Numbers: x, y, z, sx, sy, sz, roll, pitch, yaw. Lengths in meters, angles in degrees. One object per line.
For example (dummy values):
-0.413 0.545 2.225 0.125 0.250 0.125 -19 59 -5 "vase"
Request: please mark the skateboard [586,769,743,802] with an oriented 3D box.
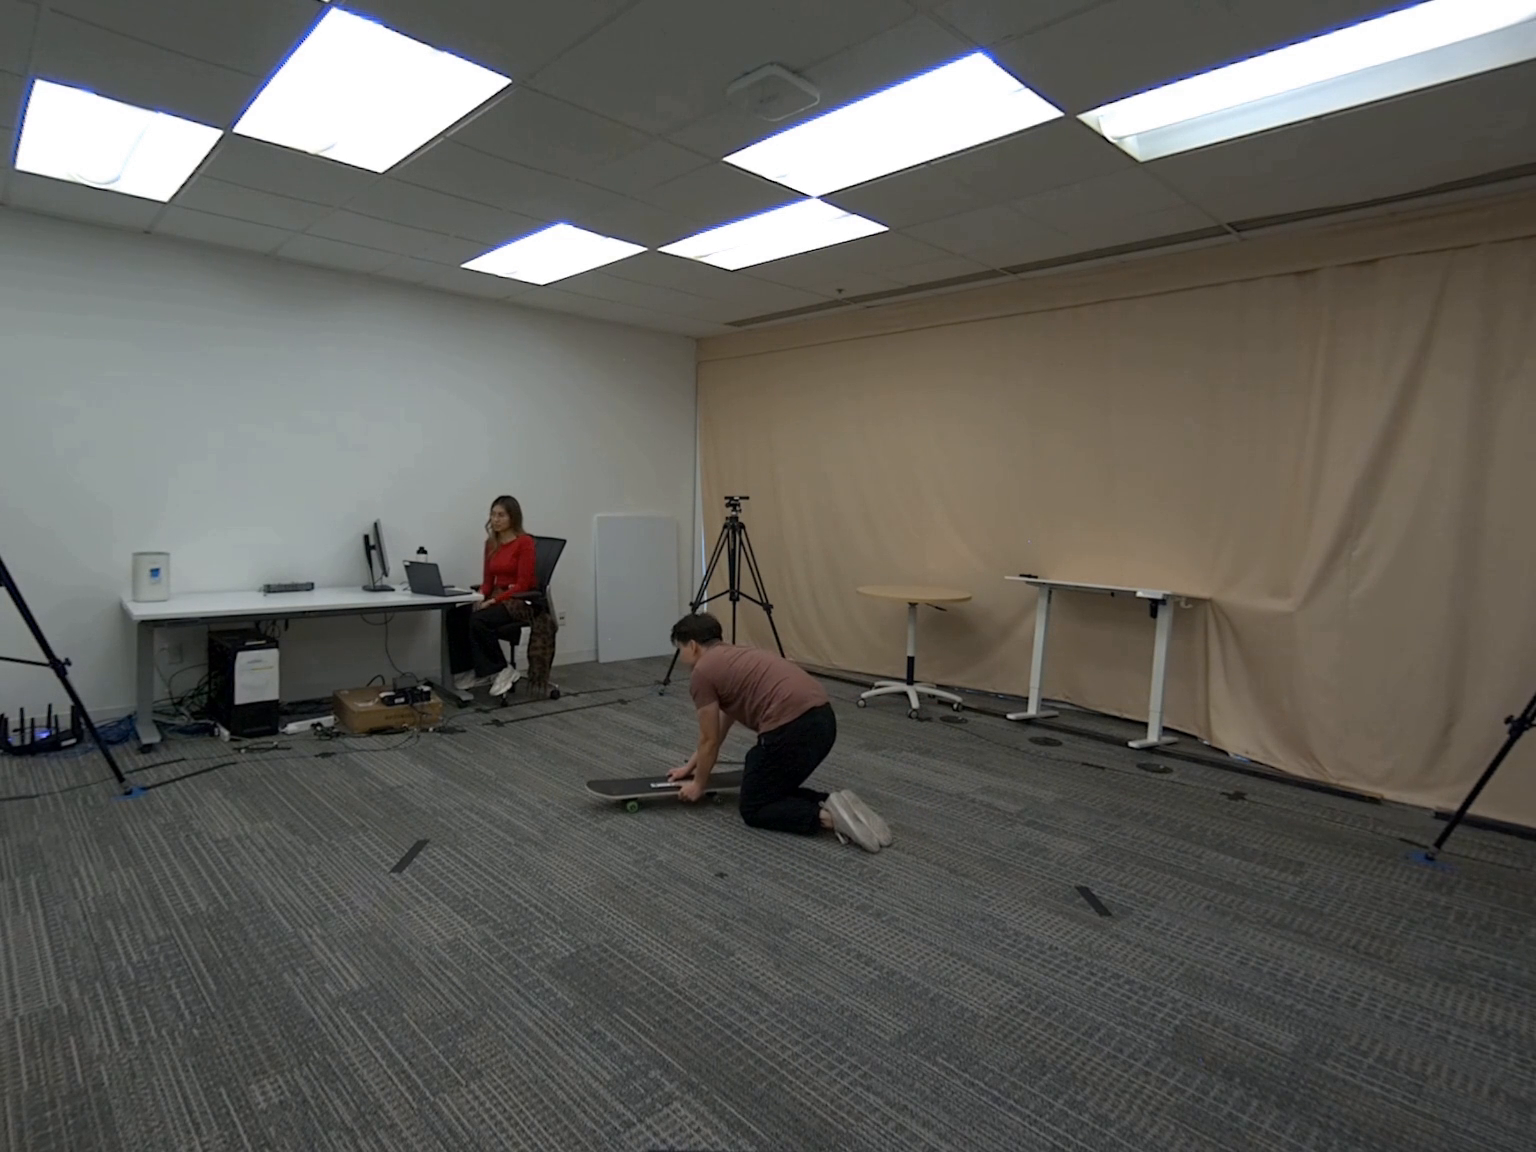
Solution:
-0.438 0.975 3.831 0.775 0.110 0.197 1 7 -16 "skateboard"
